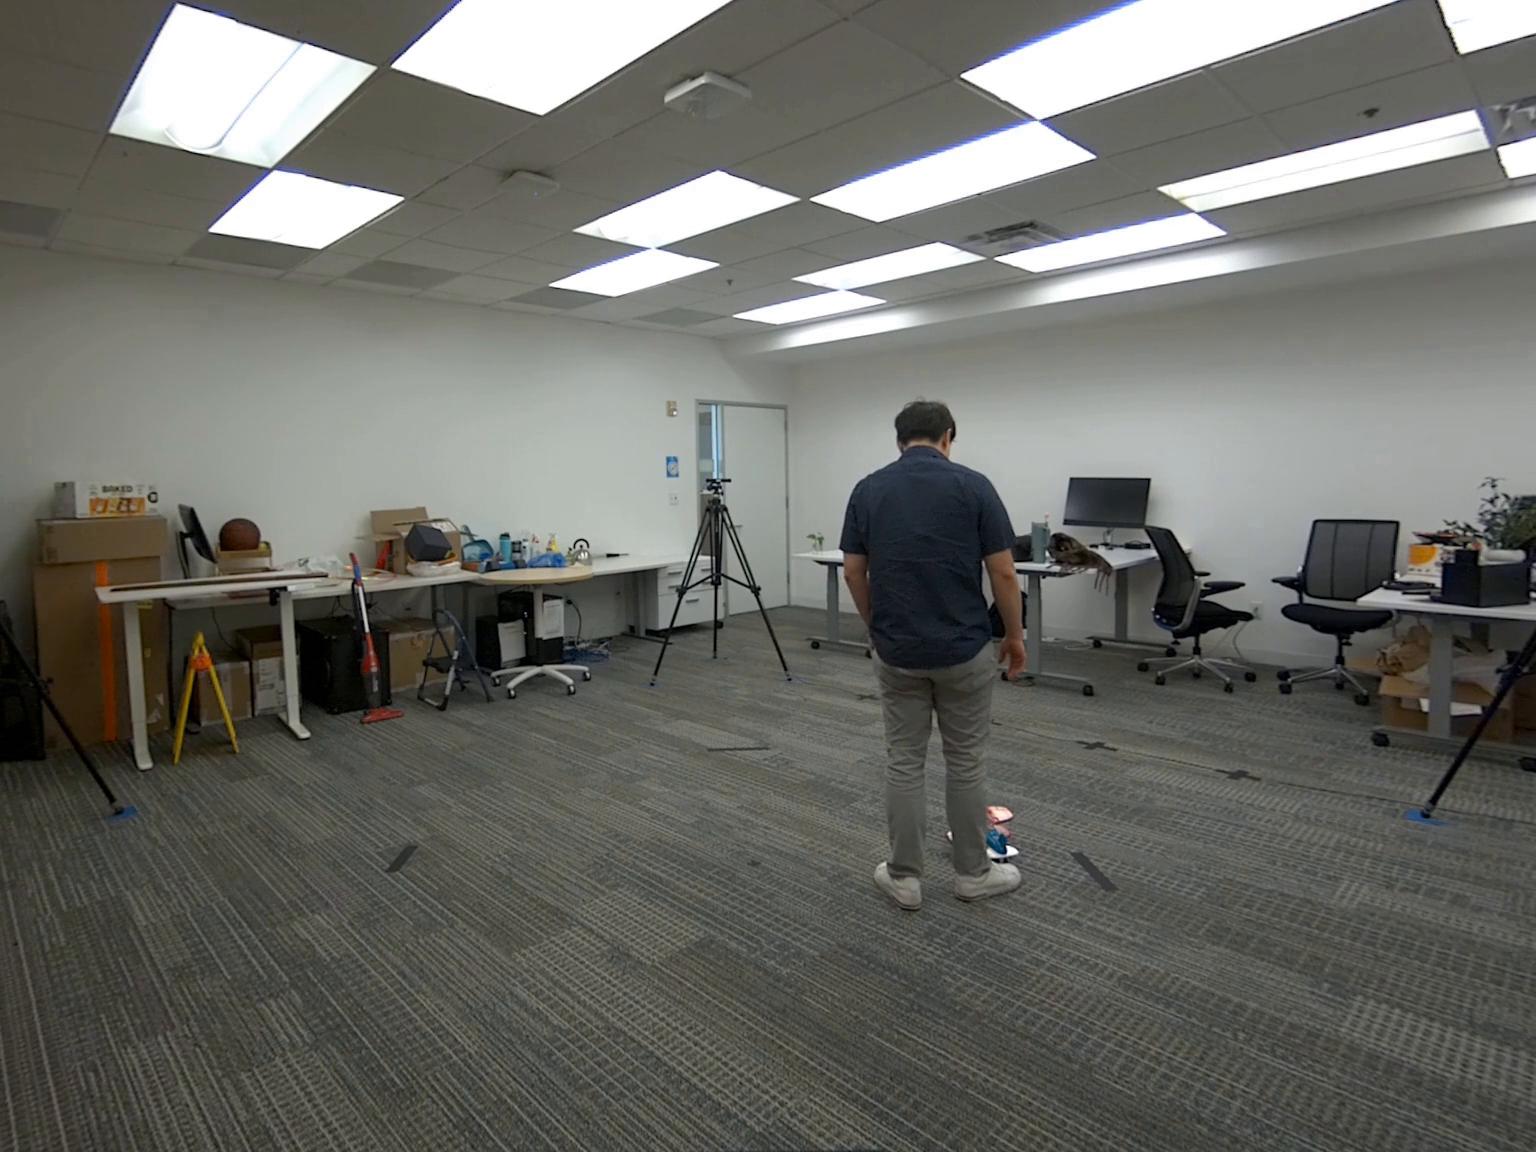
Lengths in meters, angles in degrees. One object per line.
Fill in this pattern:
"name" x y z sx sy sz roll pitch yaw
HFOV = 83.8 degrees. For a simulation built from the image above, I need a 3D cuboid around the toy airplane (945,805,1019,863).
"toy airplane" 0.820 0.957 3.134 0.244 0.156 0.267 -5 6 -43
